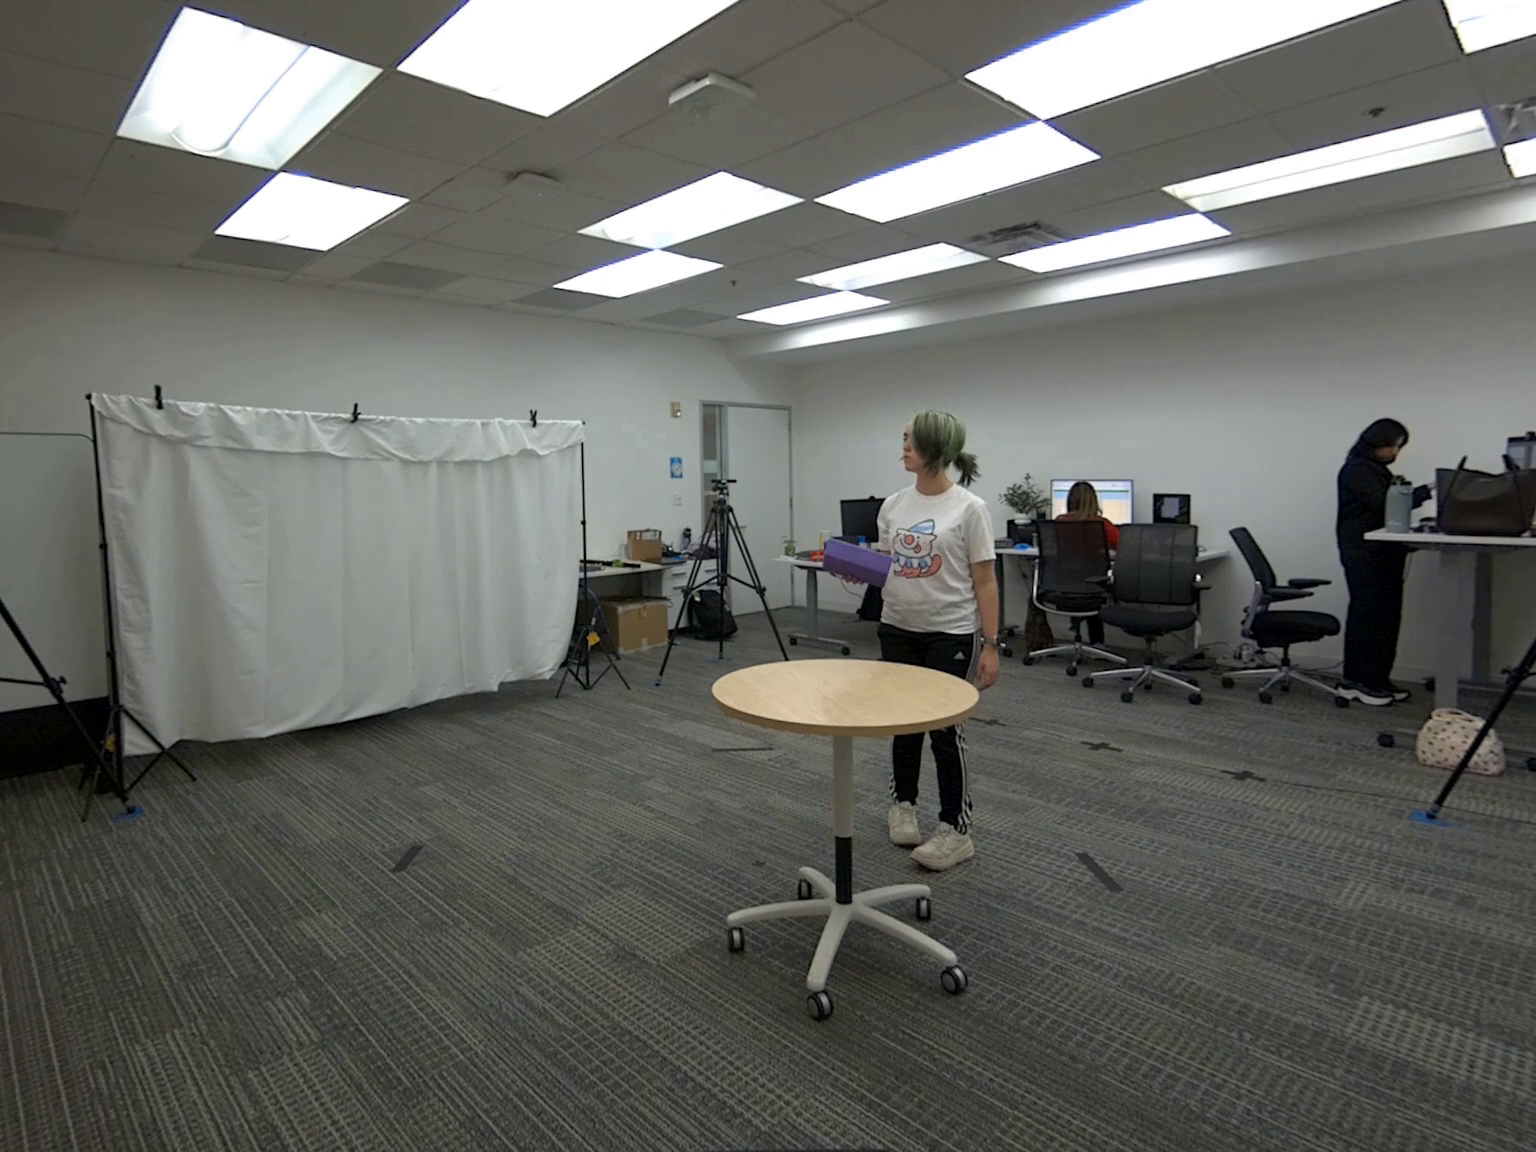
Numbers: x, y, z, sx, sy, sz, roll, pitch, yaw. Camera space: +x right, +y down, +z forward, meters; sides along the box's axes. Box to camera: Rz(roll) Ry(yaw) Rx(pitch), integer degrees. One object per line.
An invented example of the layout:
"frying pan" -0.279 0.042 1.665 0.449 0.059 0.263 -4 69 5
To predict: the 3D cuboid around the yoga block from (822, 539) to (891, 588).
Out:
"yoga block" 0.315 -0.044 3.008 0.232 0.077 0.146 19 -18 9
